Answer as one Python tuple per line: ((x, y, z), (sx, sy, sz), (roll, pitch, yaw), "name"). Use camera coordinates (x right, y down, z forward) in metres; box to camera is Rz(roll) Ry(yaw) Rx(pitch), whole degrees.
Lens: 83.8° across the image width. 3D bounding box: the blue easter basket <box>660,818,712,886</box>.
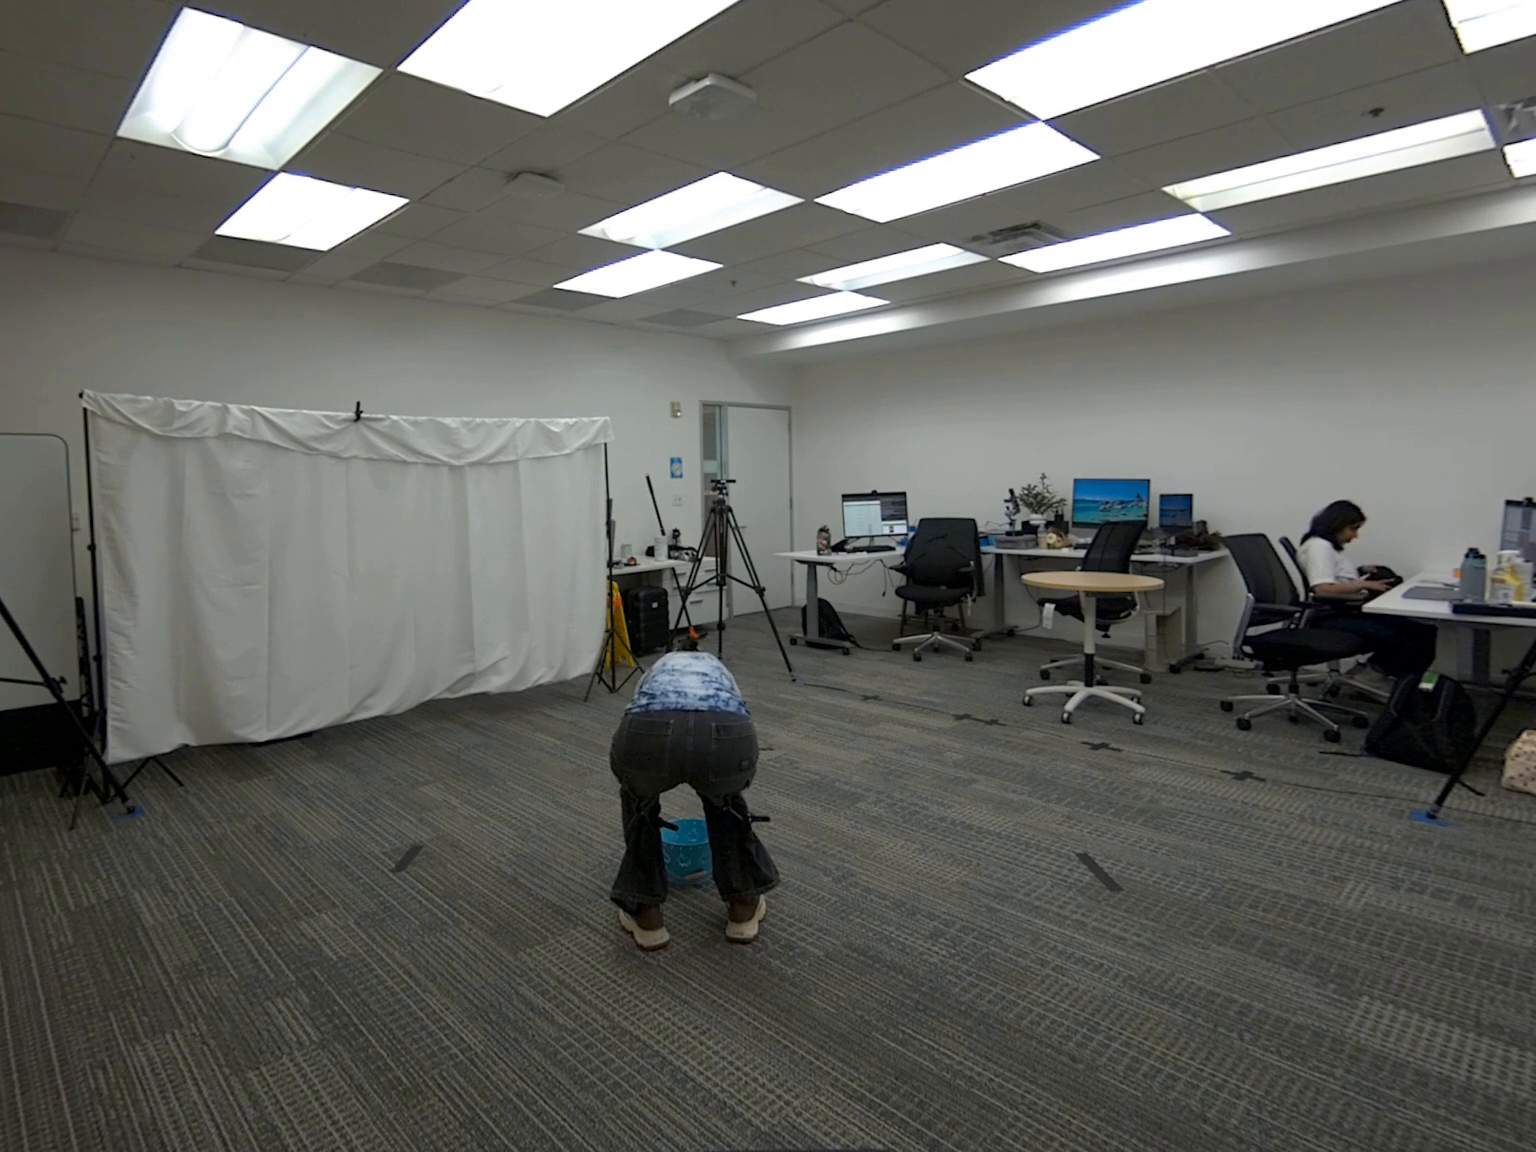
((-0.287, 0.985, 3.042), (0.243, 0.155, 0.245), (-1, 5, -2), "blue easter basket")
